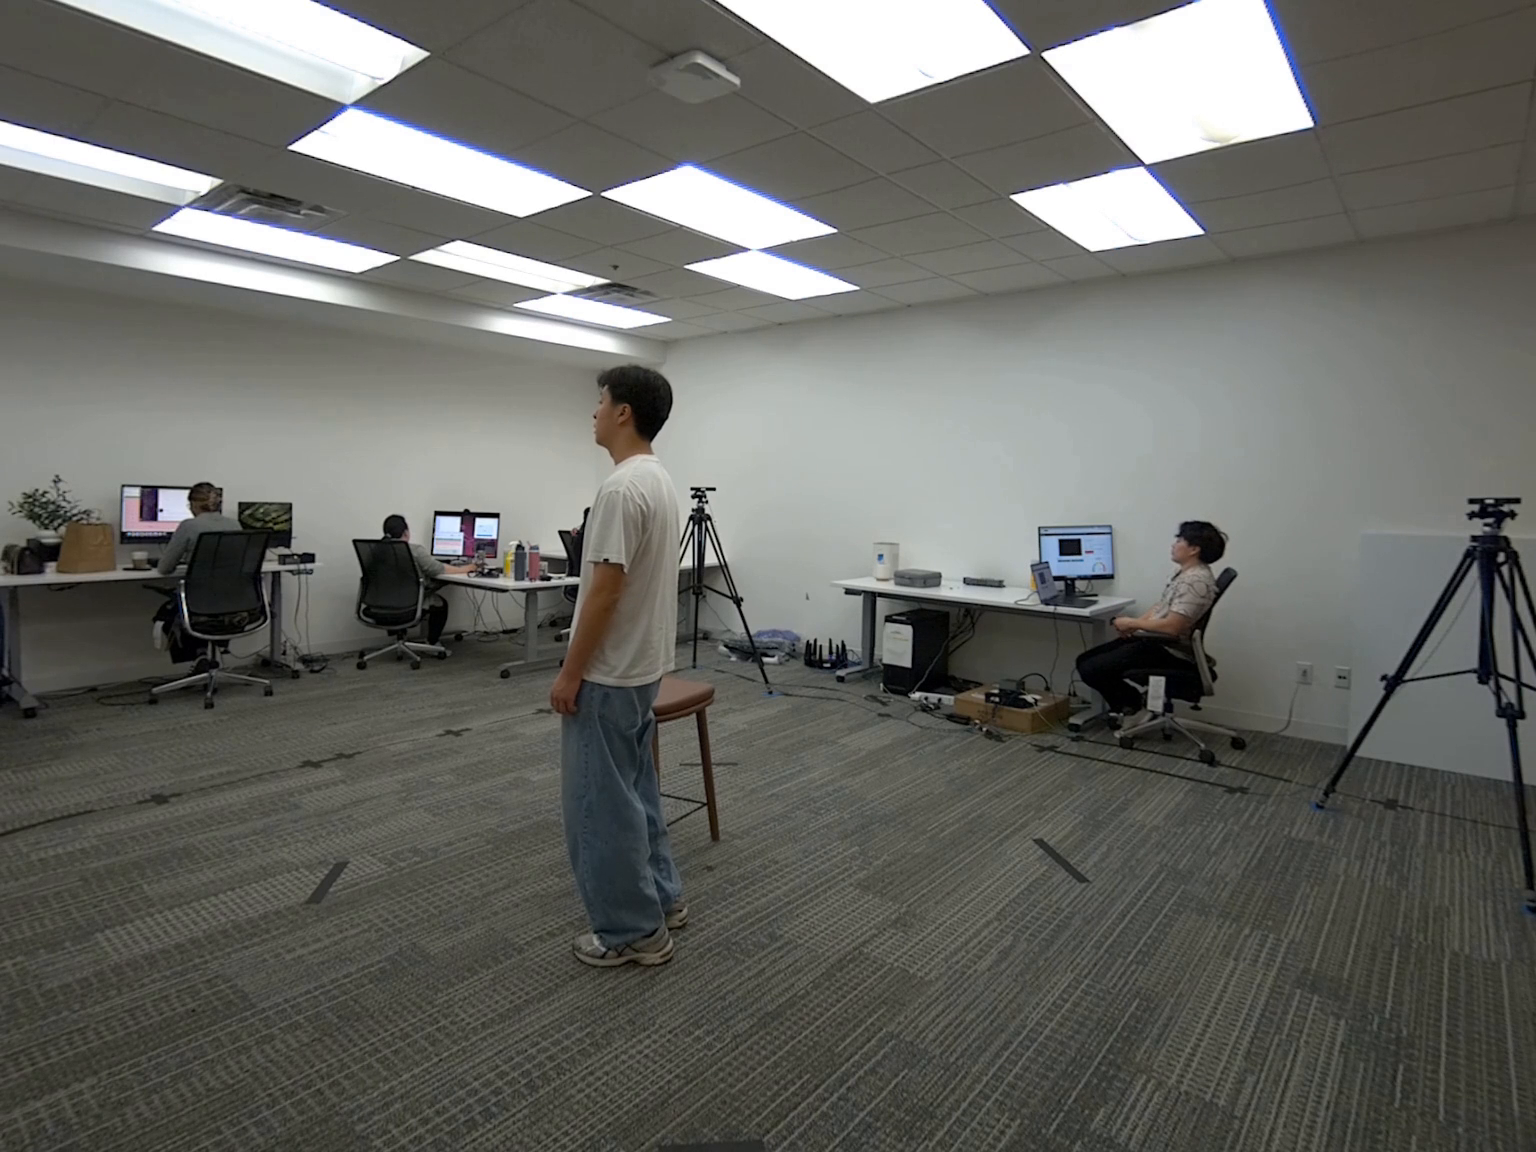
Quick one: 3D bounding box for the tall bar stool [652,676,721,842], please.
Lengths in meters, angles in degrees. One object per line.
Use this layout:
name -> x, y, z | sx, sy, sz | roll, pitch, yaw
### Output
tall bar stool -> -0.487, 0.604, 3.306 | 0.481, 0.889, 0.444 | 0, 2, 32
